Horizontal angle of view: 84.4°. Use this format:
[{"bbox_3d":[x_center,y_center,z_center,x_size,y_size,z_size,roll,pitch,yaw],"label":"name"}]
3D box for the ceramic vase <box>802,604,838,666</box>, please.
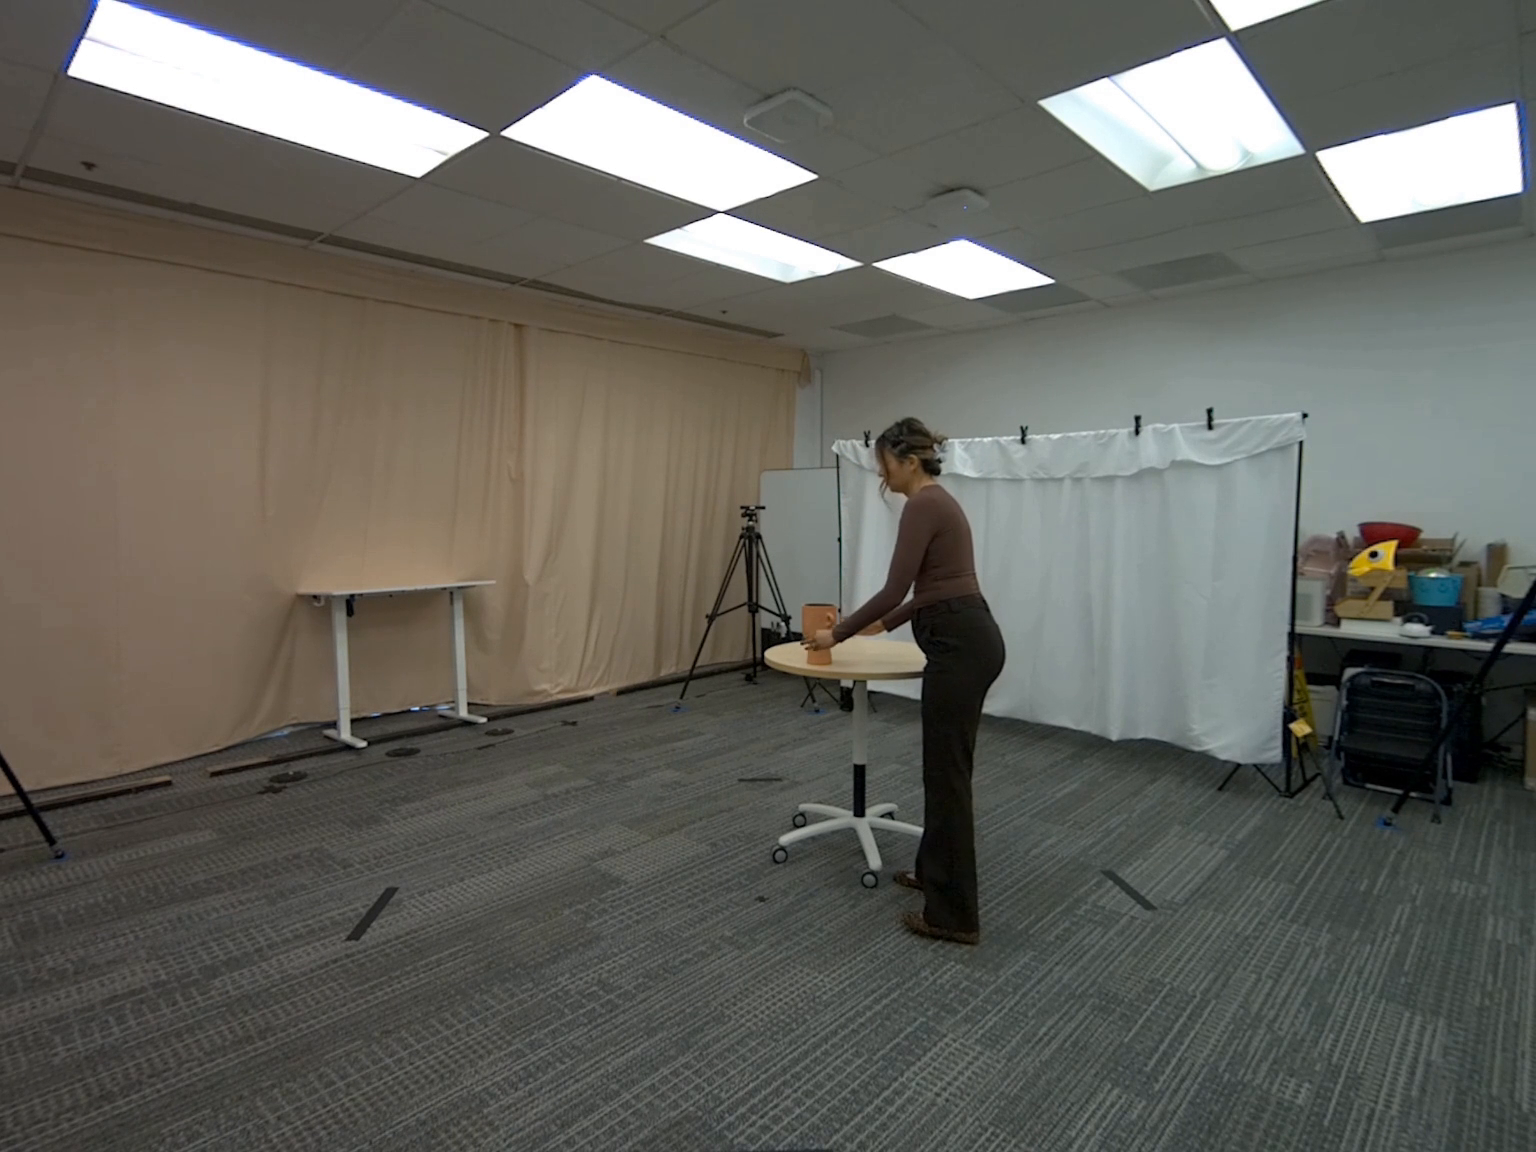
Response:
[{"bbox_3d":[0.204,0.222,3.183,0.136,0.219,0.157,1,4,12],"label":"ceramic vase"}]
